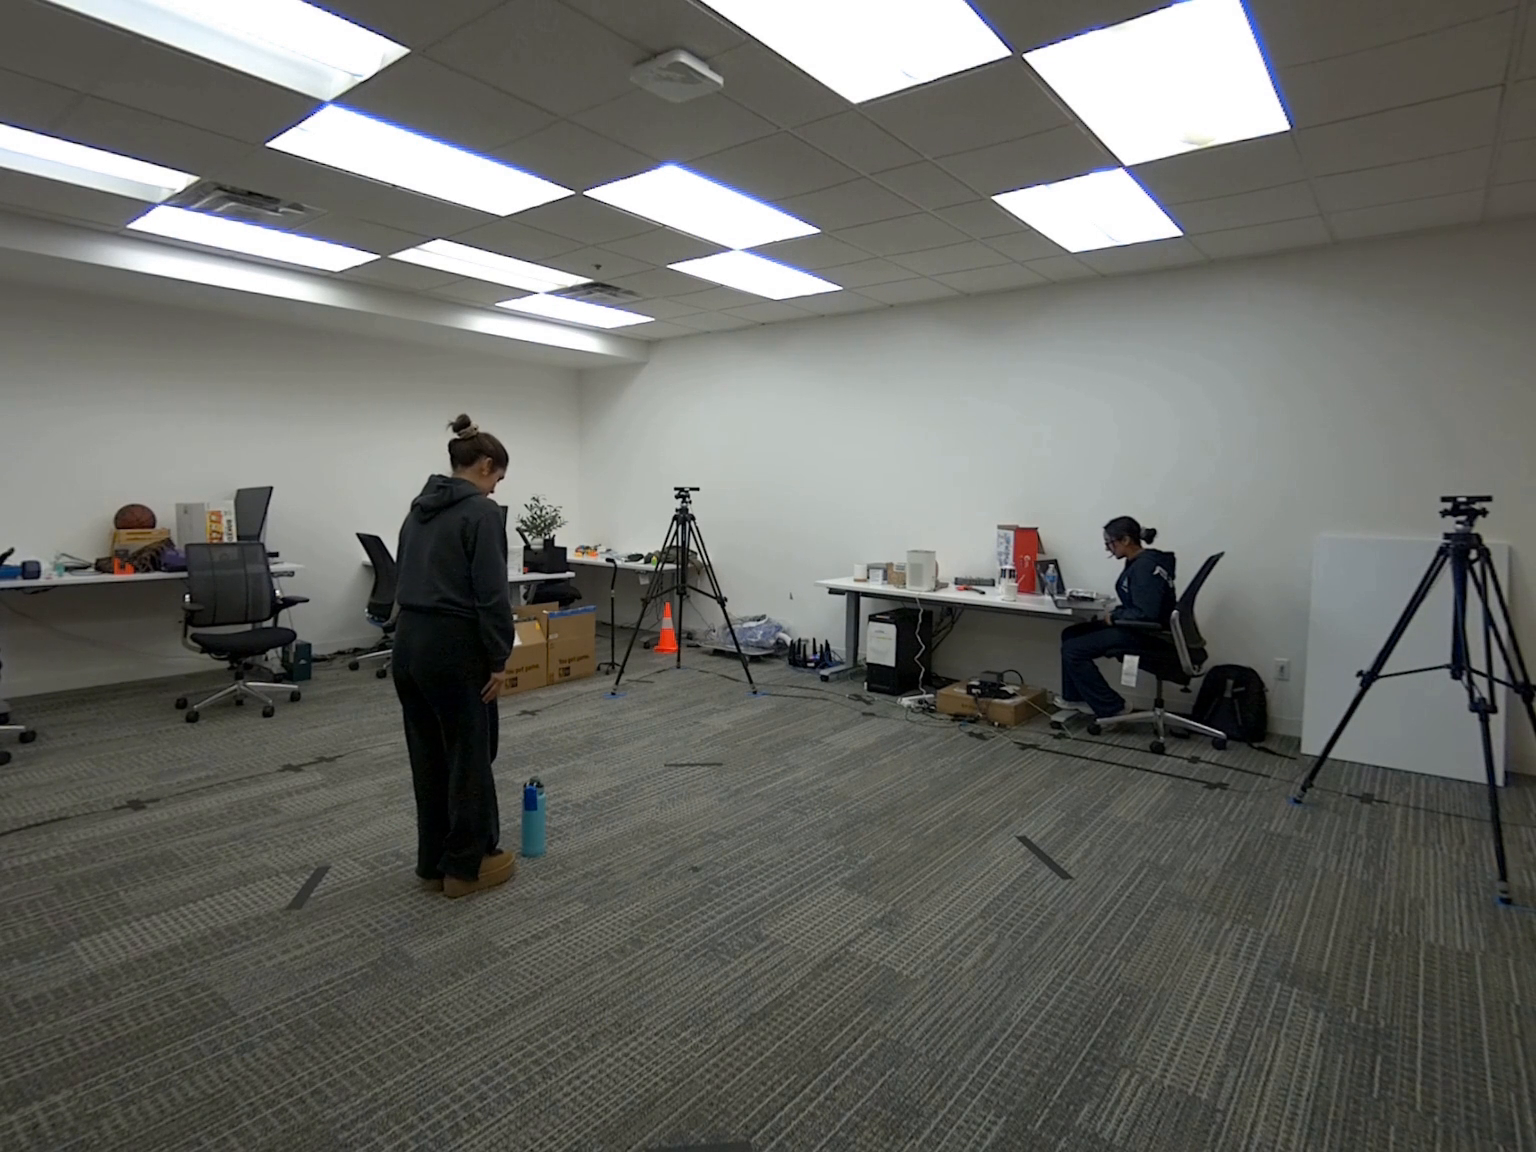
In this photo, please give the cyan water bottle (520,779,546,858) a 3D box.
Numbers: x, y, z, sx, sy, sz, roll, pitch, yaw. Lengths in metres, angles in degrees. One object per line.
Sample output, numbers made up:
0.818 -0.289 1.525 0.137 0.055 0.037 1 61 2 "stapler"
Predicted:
-0.891 0.909 3.217 0.092 0.282 0.093 1 5 -2 "cyan water bottle"
